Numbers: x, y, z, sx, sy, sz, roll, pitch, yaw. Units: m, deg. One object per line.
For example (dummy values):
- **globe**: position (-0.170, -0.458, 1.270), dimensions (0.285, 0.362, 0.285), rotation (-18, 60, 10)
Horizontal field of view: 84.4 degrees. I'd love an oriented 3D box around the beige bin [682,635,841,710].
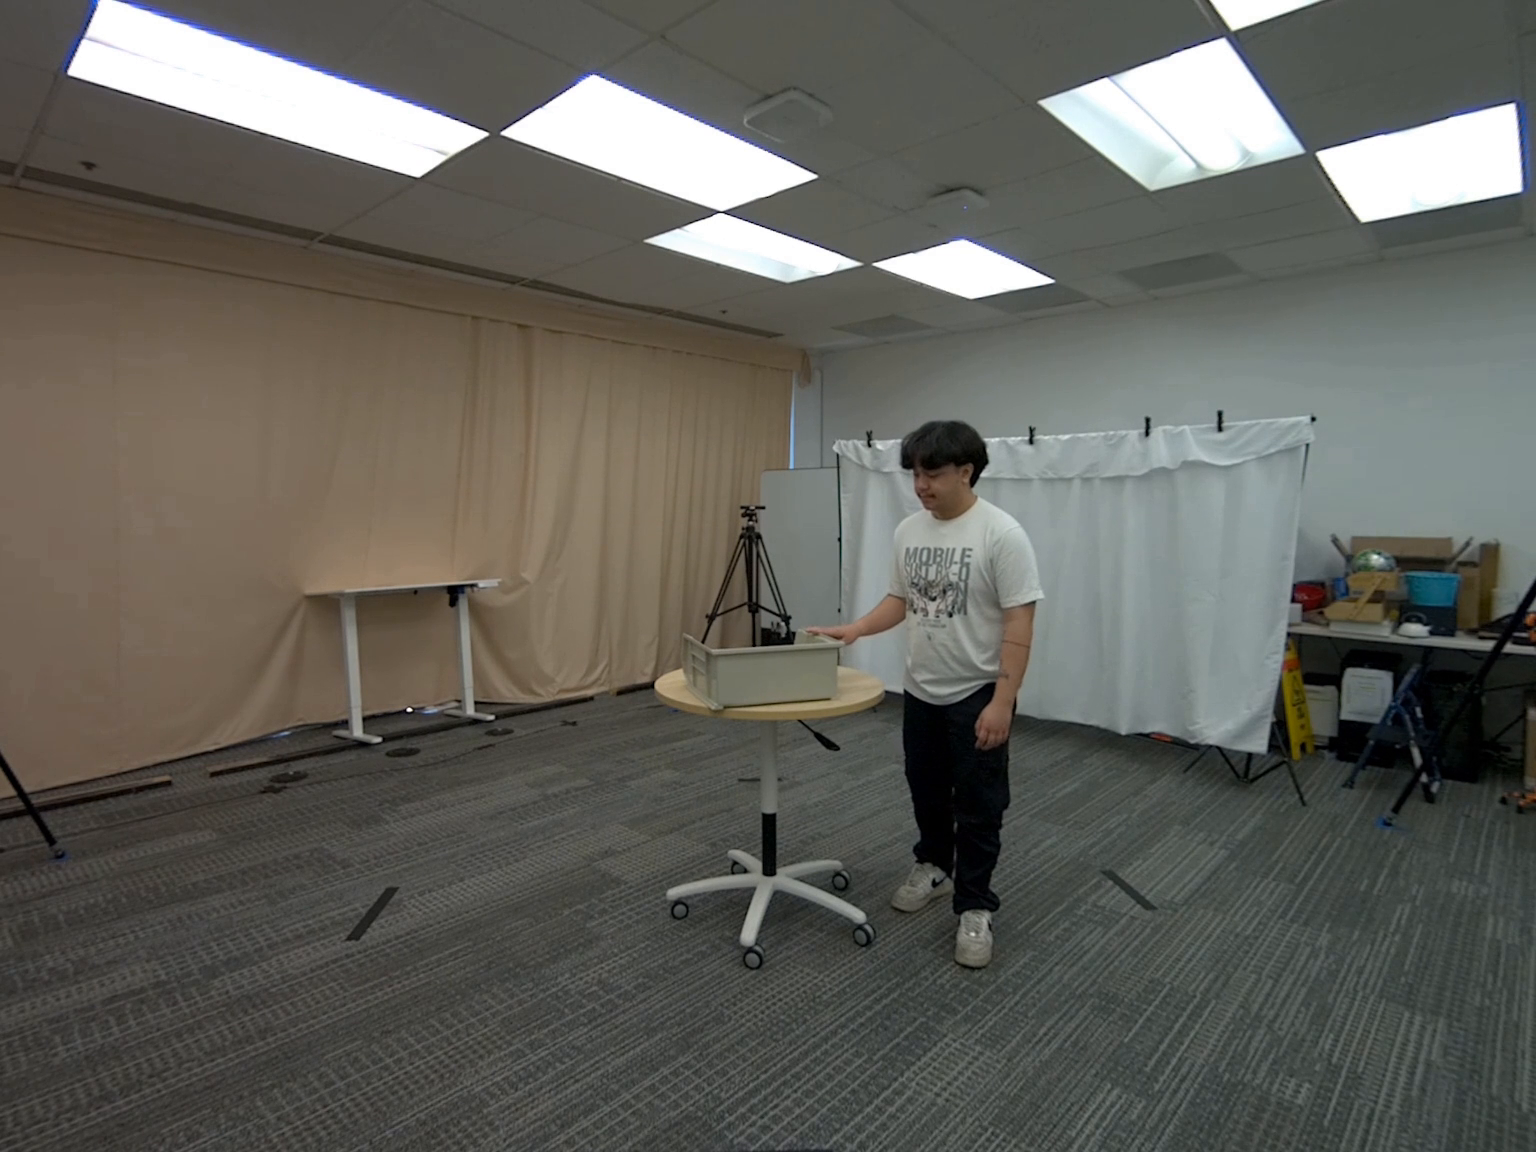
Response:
- **beige bin**: position (-0.025, 0.289, 2.683), dimensions (0.415, 0.188, 0.385), rotation (-1, 6, -18)
